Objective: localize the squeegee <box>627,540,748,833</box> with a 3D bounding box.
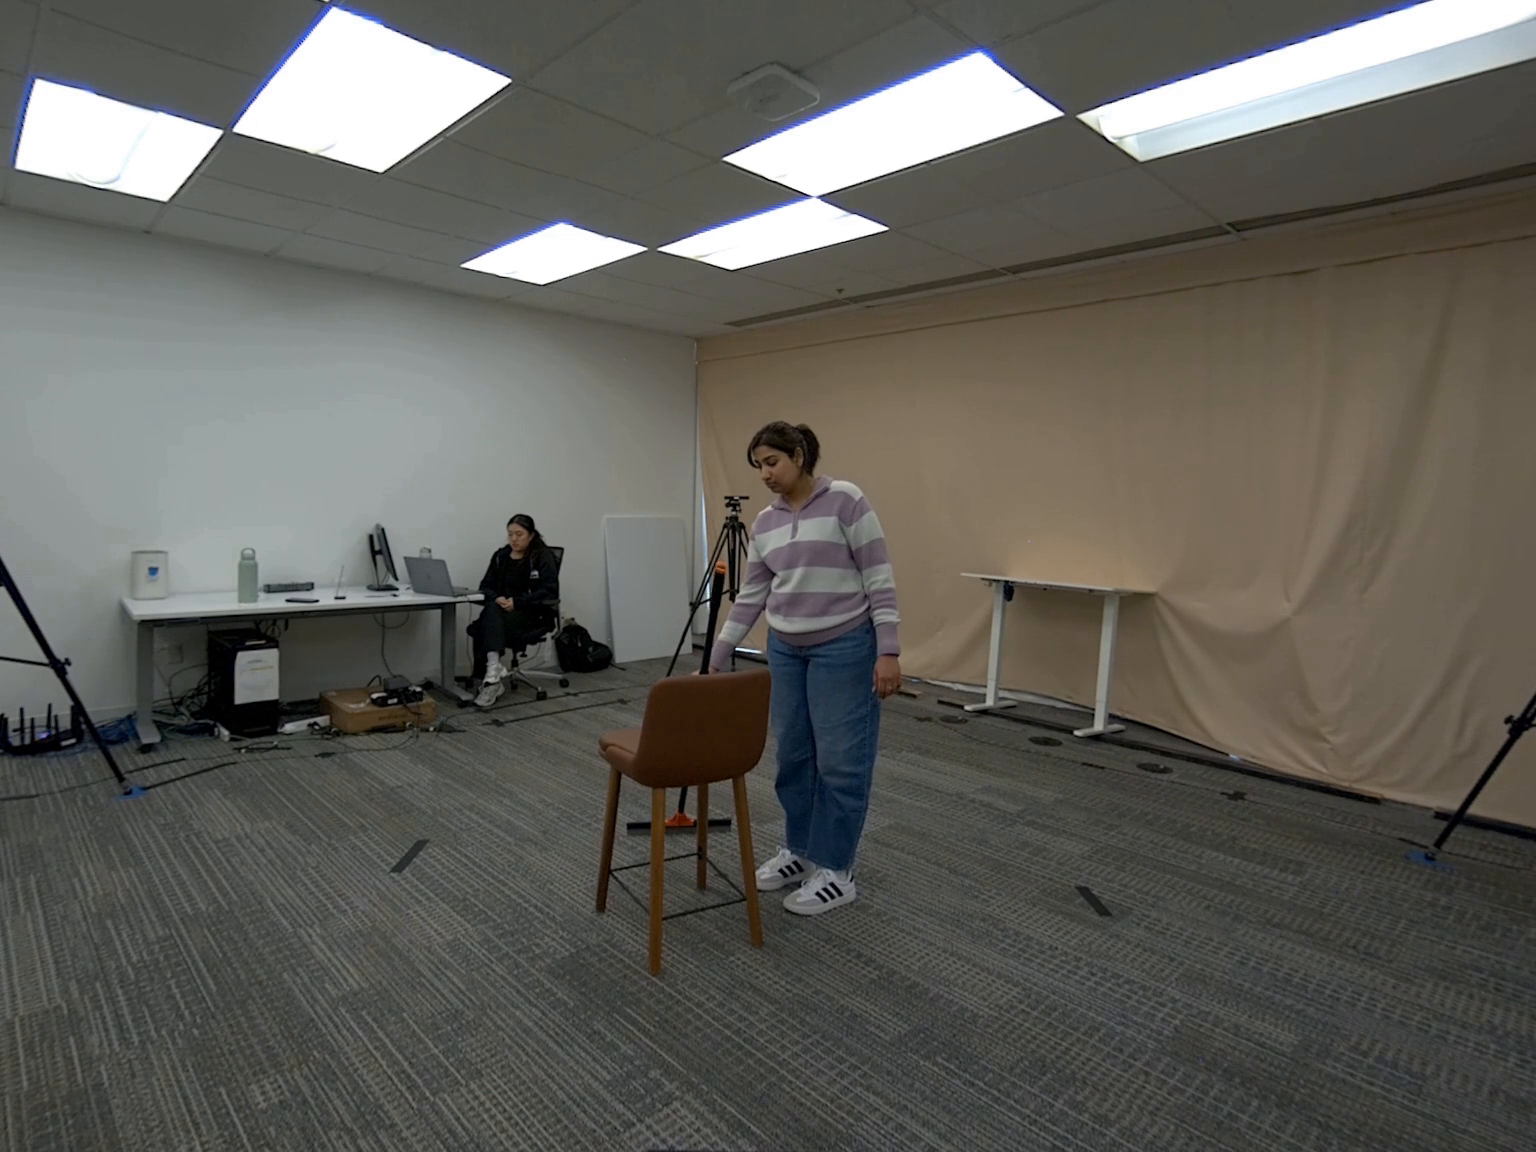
[{"bbox_3d":[-0.269,0.487,2.984,0.434,1.509,0.054,0,44,-10],"label":"squeegee"}]
